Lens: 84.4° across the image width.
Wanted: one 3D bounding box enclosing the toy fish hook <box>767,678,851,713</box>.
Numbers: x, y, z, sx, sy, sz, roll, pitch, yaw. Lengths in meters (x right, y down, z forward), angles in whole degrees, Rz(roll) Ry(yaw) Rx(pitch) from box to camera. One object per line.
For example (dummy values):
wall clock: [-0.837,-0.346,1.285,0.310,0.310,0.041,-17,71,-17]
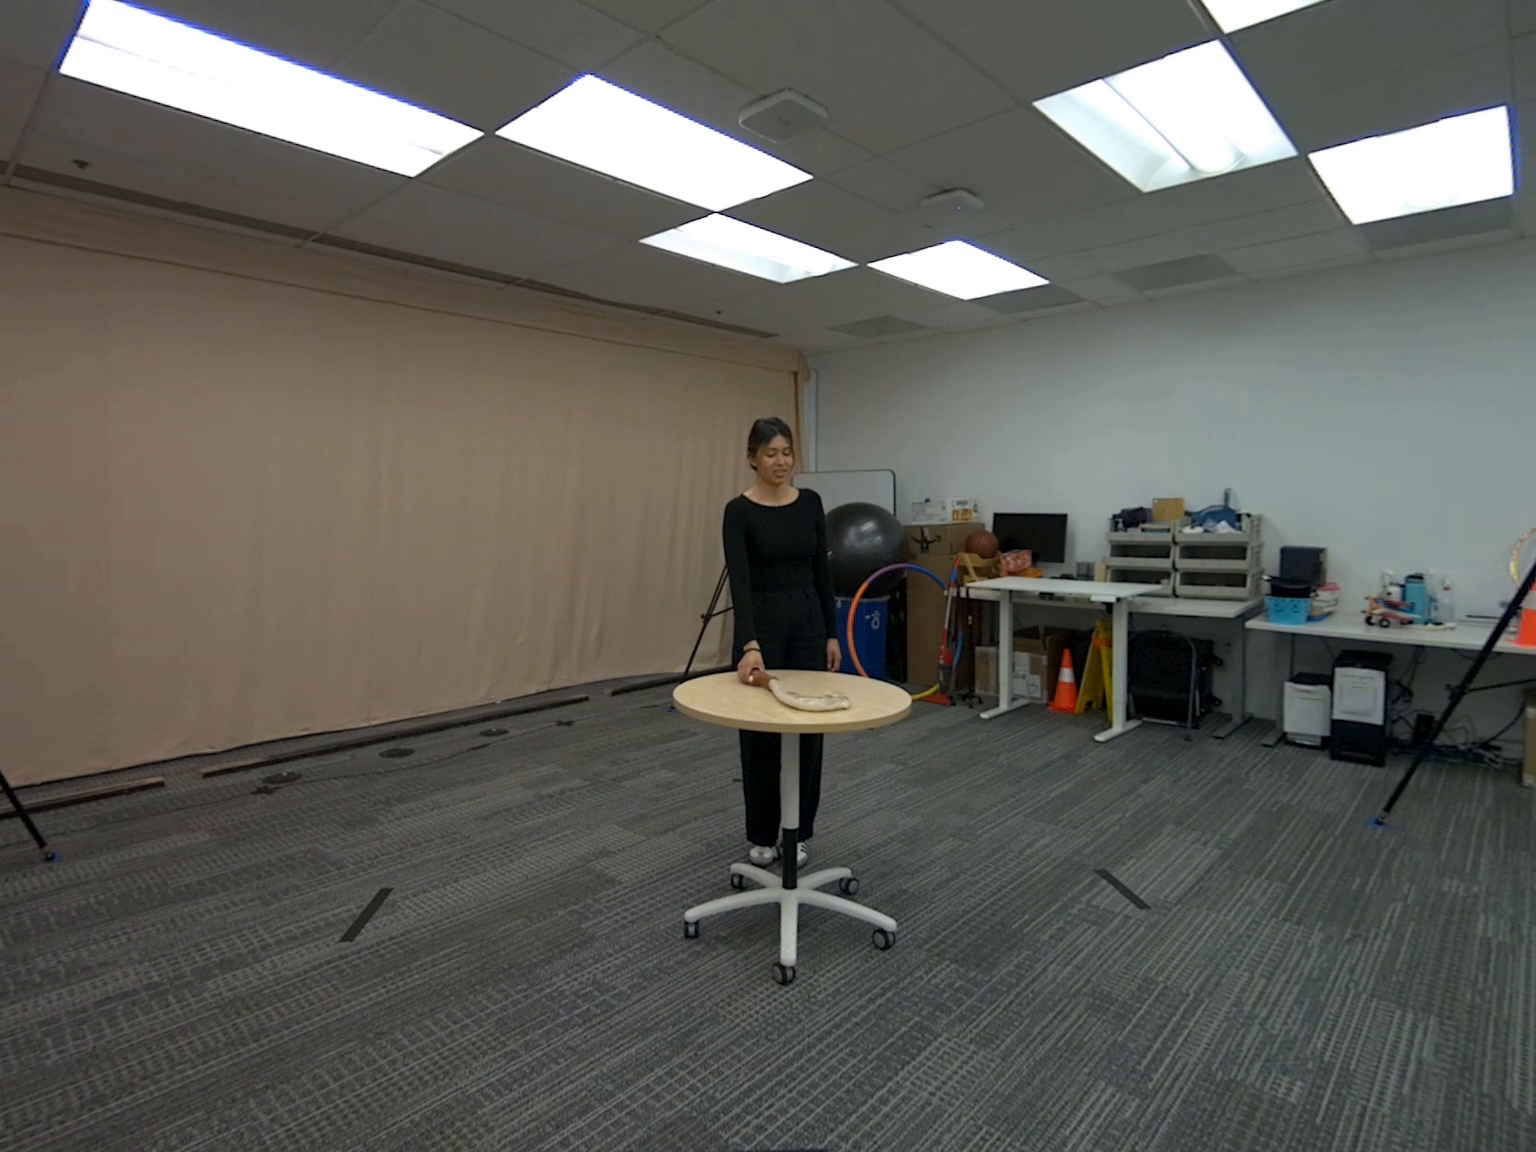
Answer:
toy fish hook: [0.095,0.367,2.728,0.219,0.048,0.521,5,5,-27]
